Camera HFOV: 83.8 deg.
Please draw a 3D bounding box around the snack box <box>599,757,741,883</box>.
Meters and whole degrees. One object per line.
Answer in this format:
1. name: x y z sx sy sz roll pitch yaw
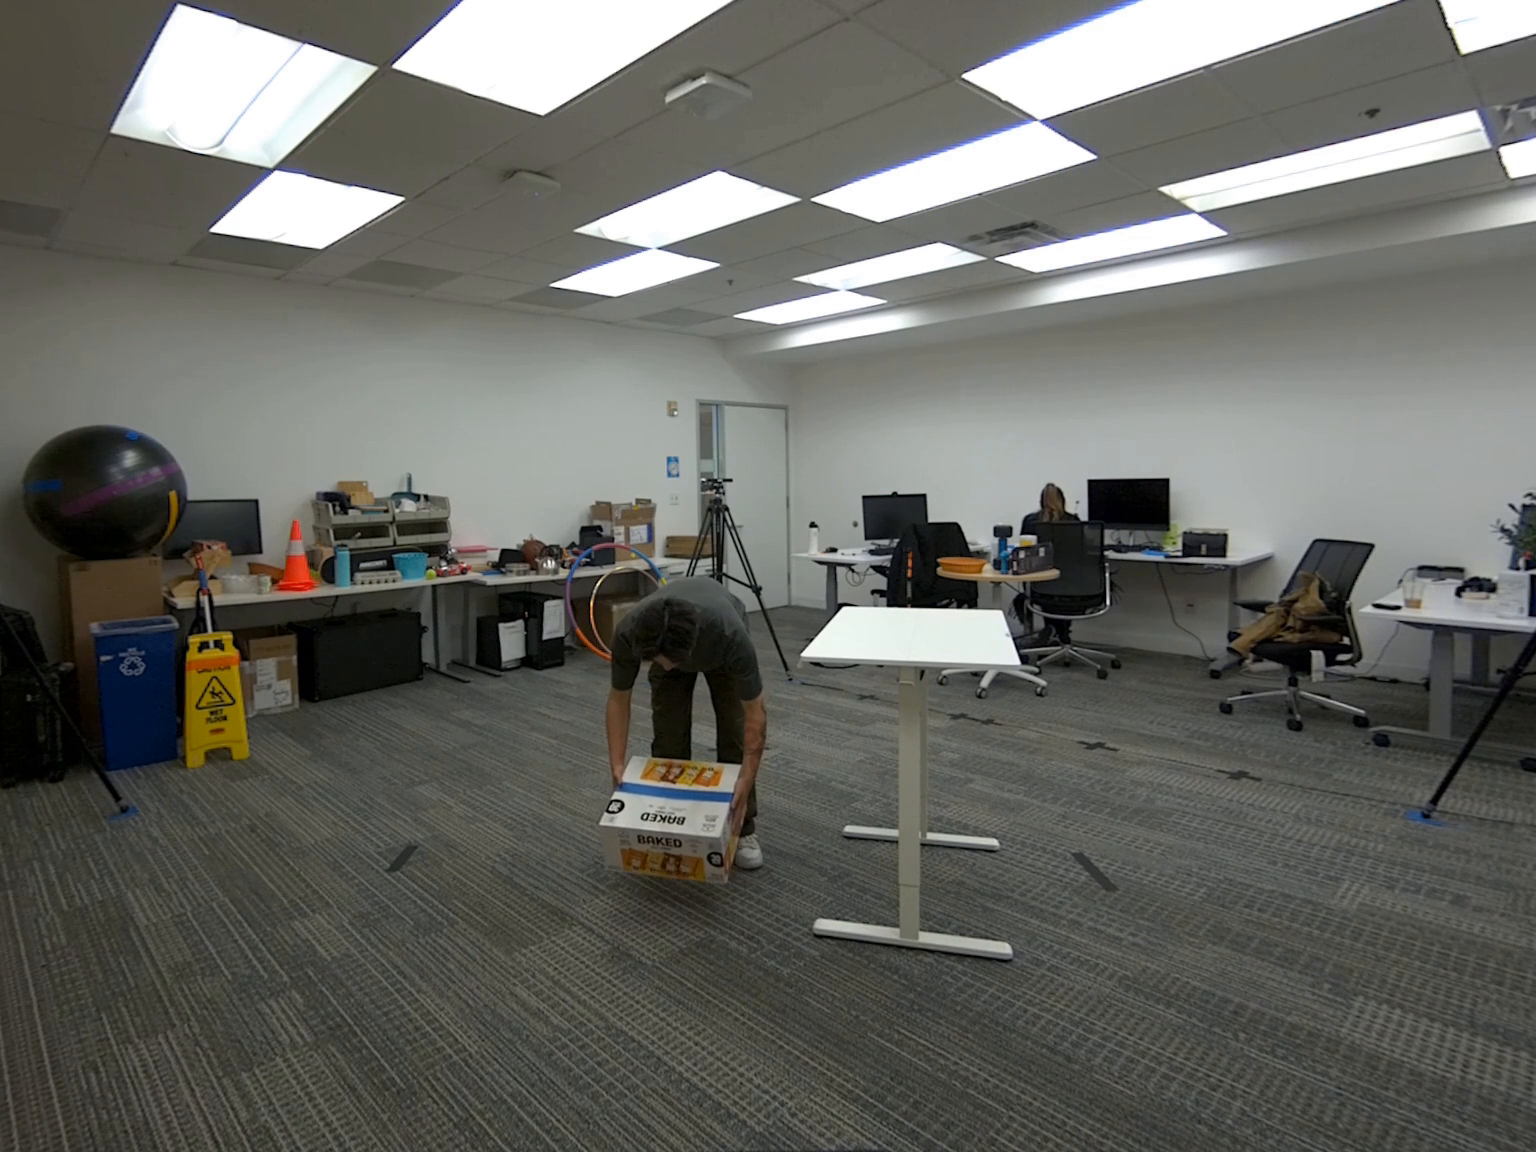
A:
1. snack box: -0.313 0.806 2.859 0.410 0.201 0.343 1 26 12
